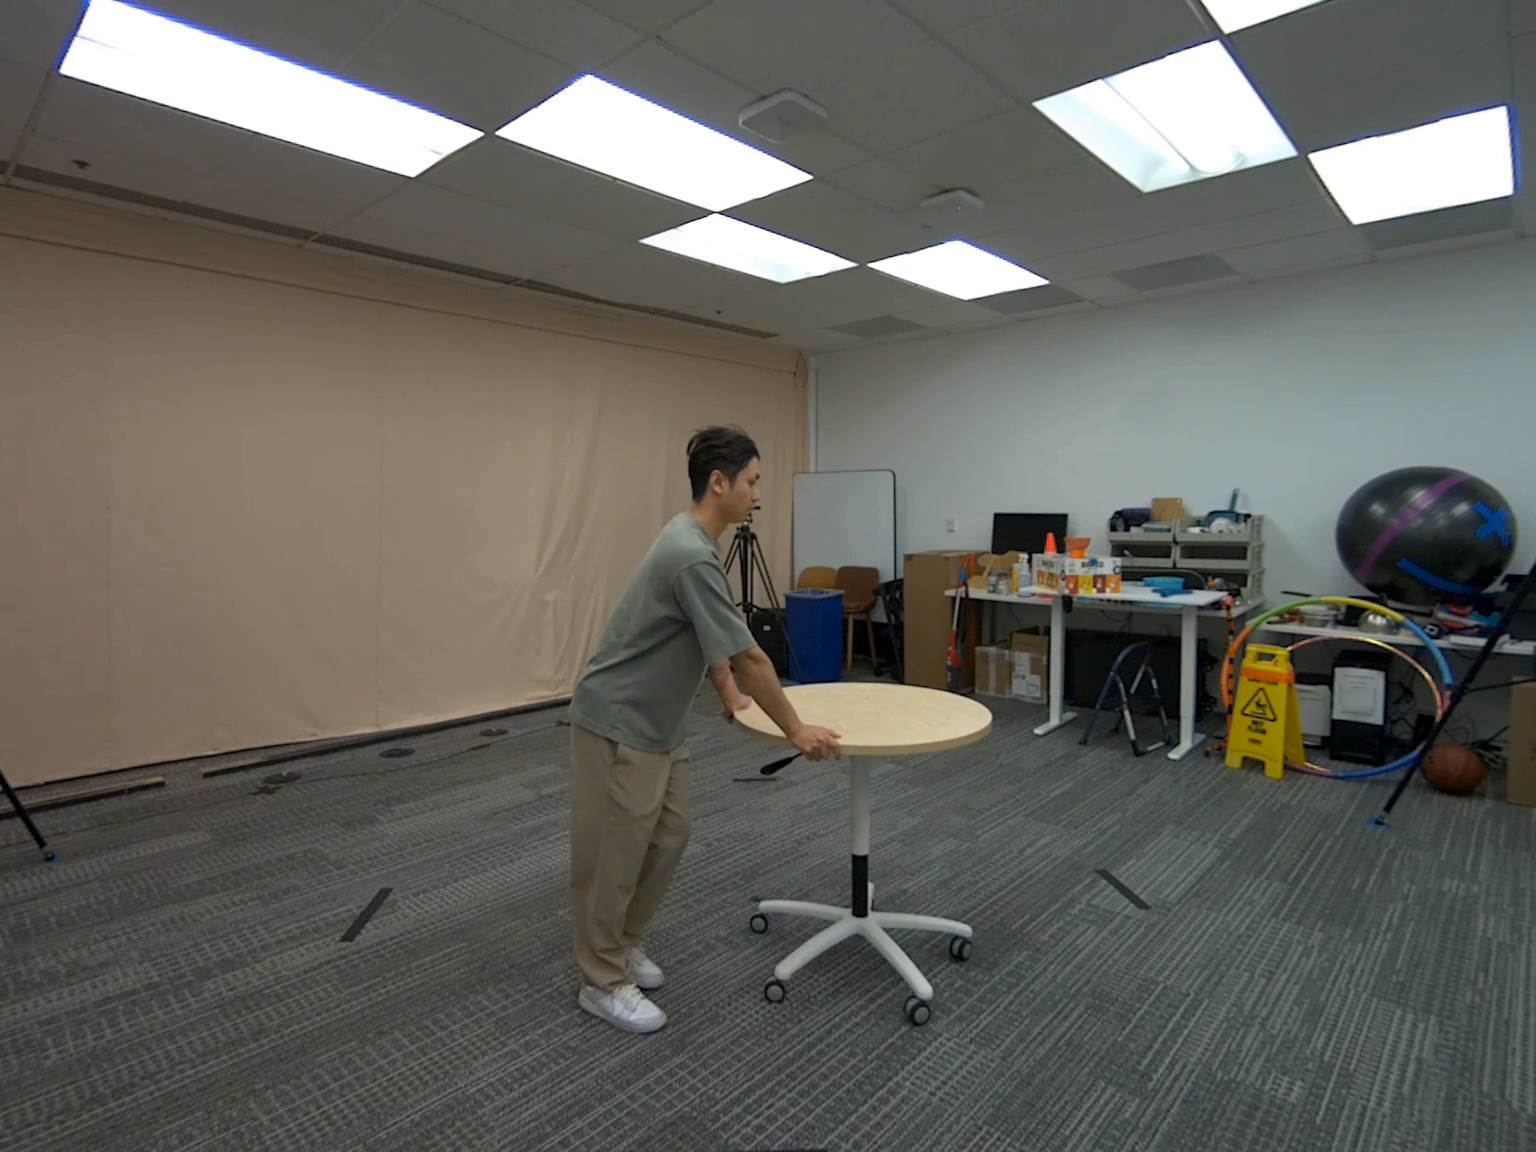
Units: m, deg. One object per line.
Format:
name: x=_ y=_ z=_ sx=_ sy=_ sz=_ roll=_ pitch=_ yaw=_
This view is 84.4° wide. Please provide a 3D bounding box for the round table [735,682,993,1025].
round table: x=0.296 y=0.791 z=2.565 sx=0.784 sy=0.785 sz=0.788 roll=-1 pitch=4 yaw=-2
